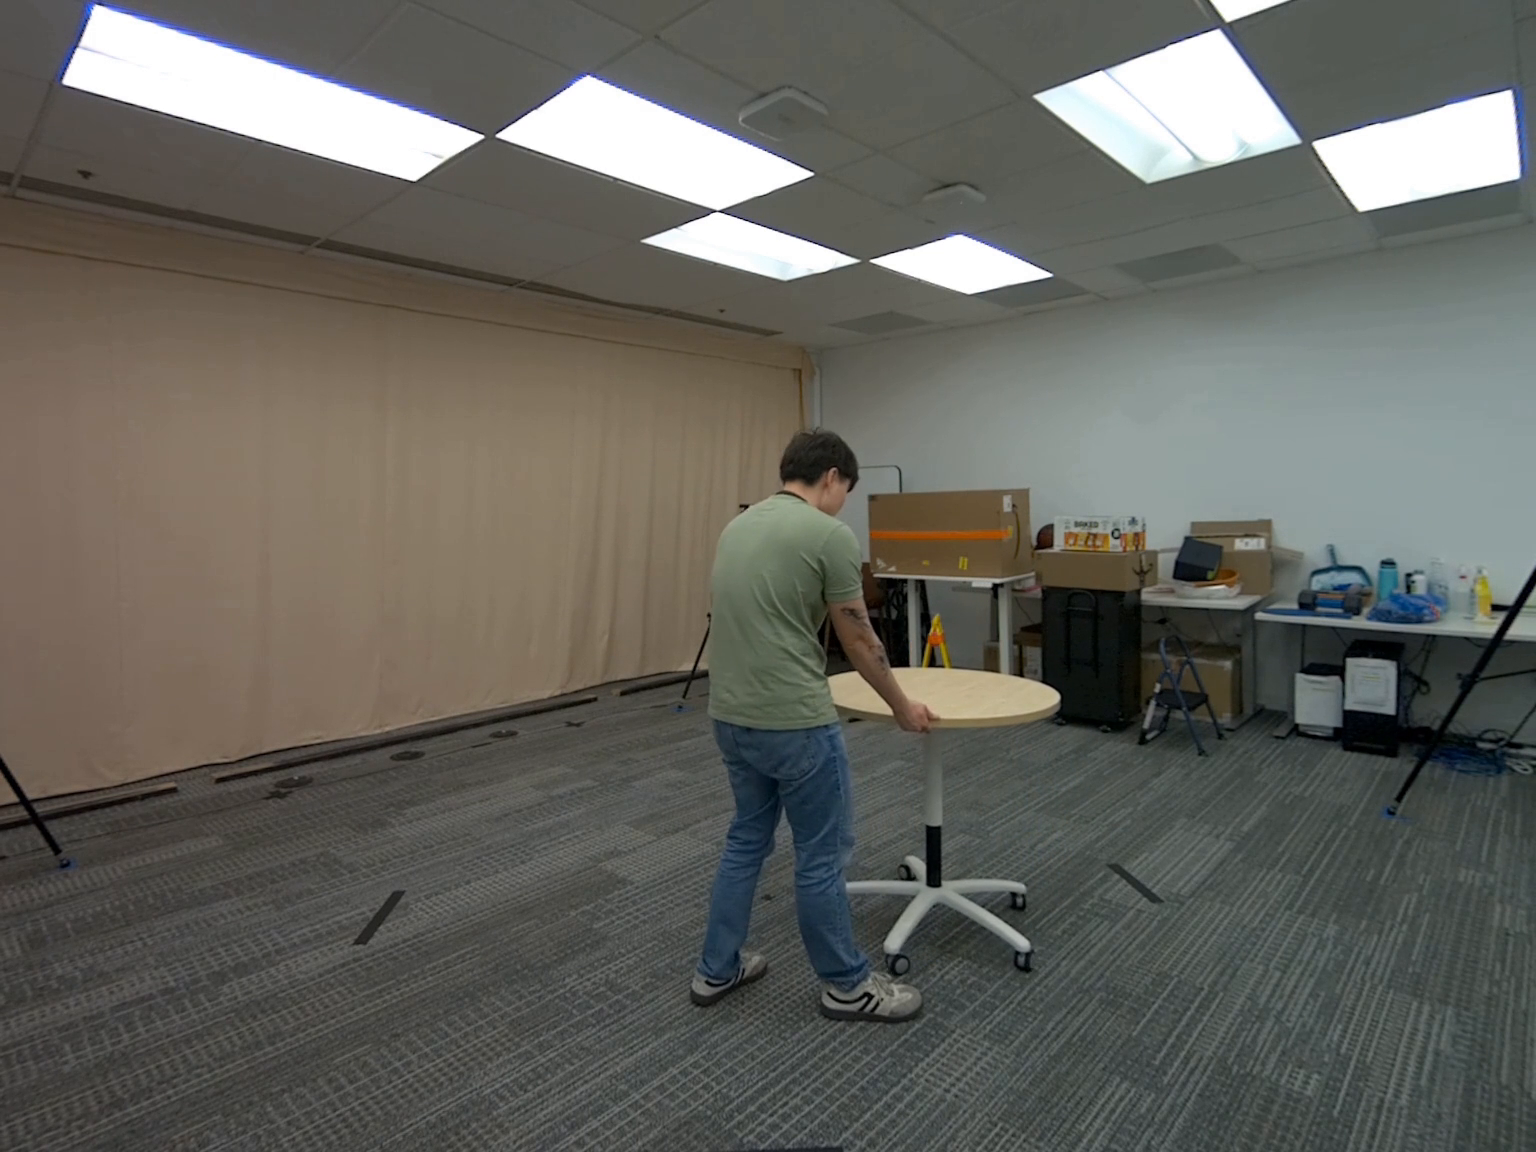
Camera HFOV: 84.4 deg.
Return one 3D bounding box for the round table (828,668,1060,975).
[{"bbox_3d":[0.550,0.762,2.738,0.763,0.792,0.766,-1,4,-2],"label":"round table"}]
